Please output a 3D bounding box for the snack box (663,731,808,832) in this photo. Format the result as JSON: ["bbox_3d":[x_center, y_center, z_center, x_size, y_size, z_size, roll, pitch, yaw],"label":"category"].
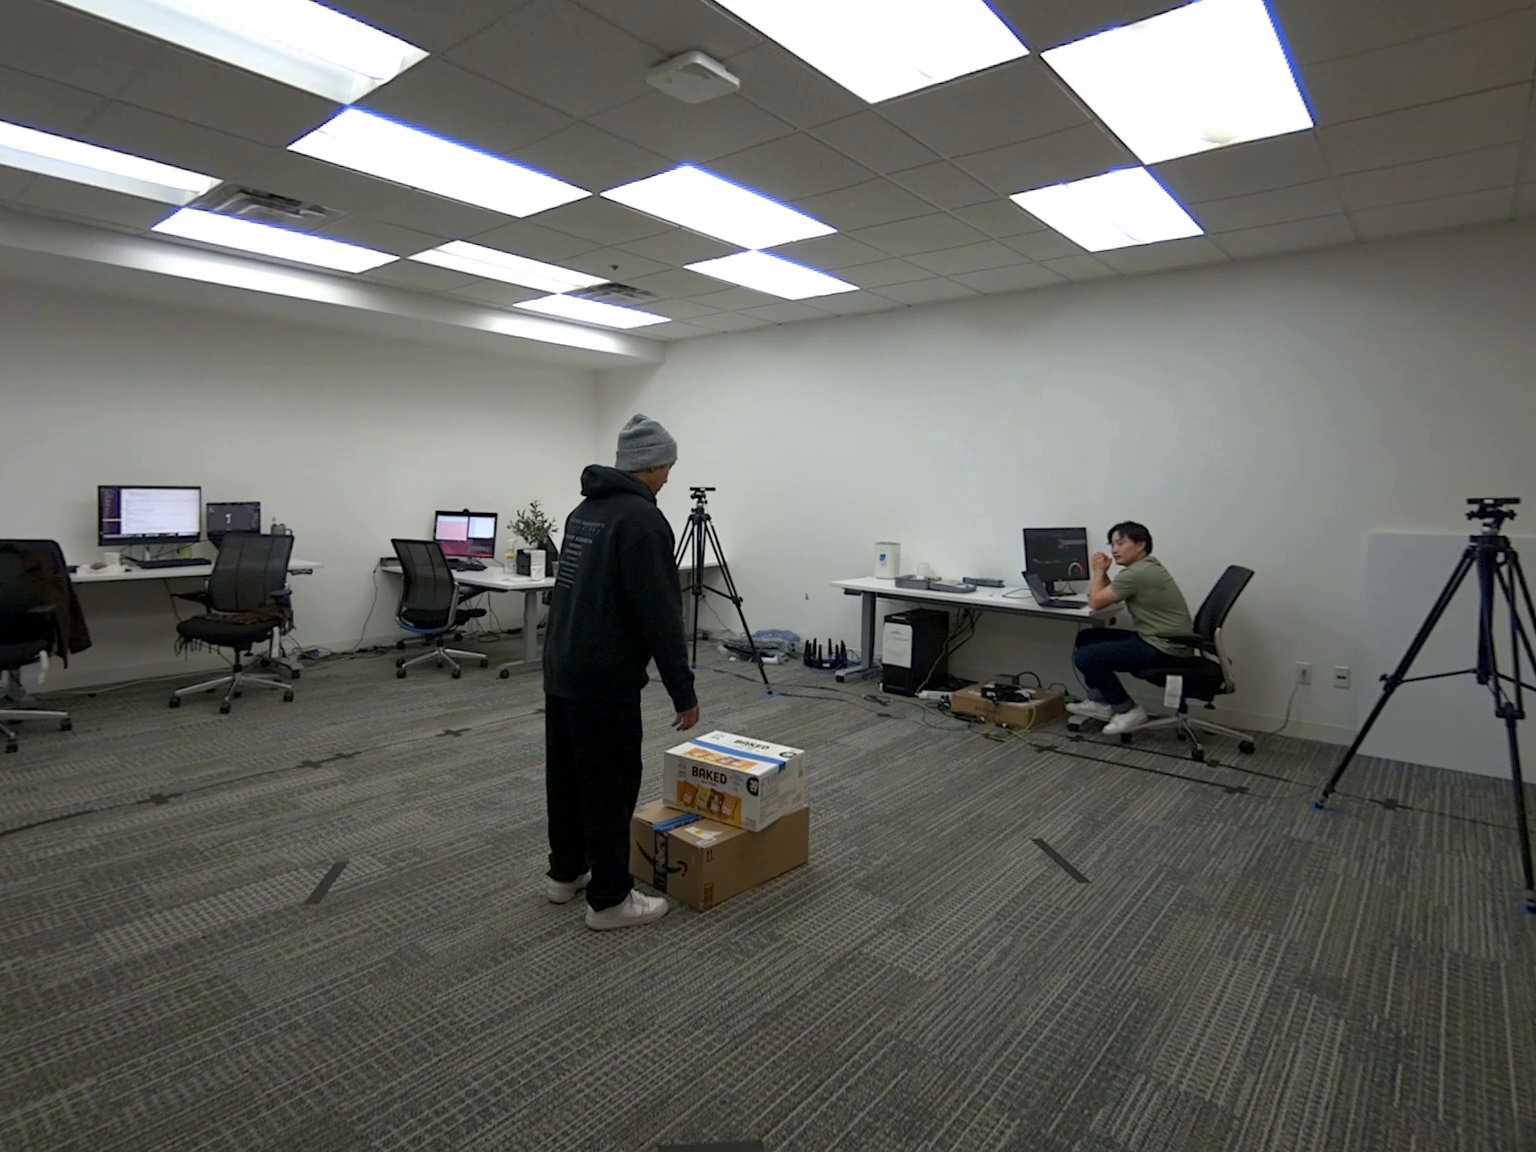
[{"bbox_3d":[-0.134,0.745,3.142,0.418,0.205,0.331,5,7,32],"label":"snack box"}]
